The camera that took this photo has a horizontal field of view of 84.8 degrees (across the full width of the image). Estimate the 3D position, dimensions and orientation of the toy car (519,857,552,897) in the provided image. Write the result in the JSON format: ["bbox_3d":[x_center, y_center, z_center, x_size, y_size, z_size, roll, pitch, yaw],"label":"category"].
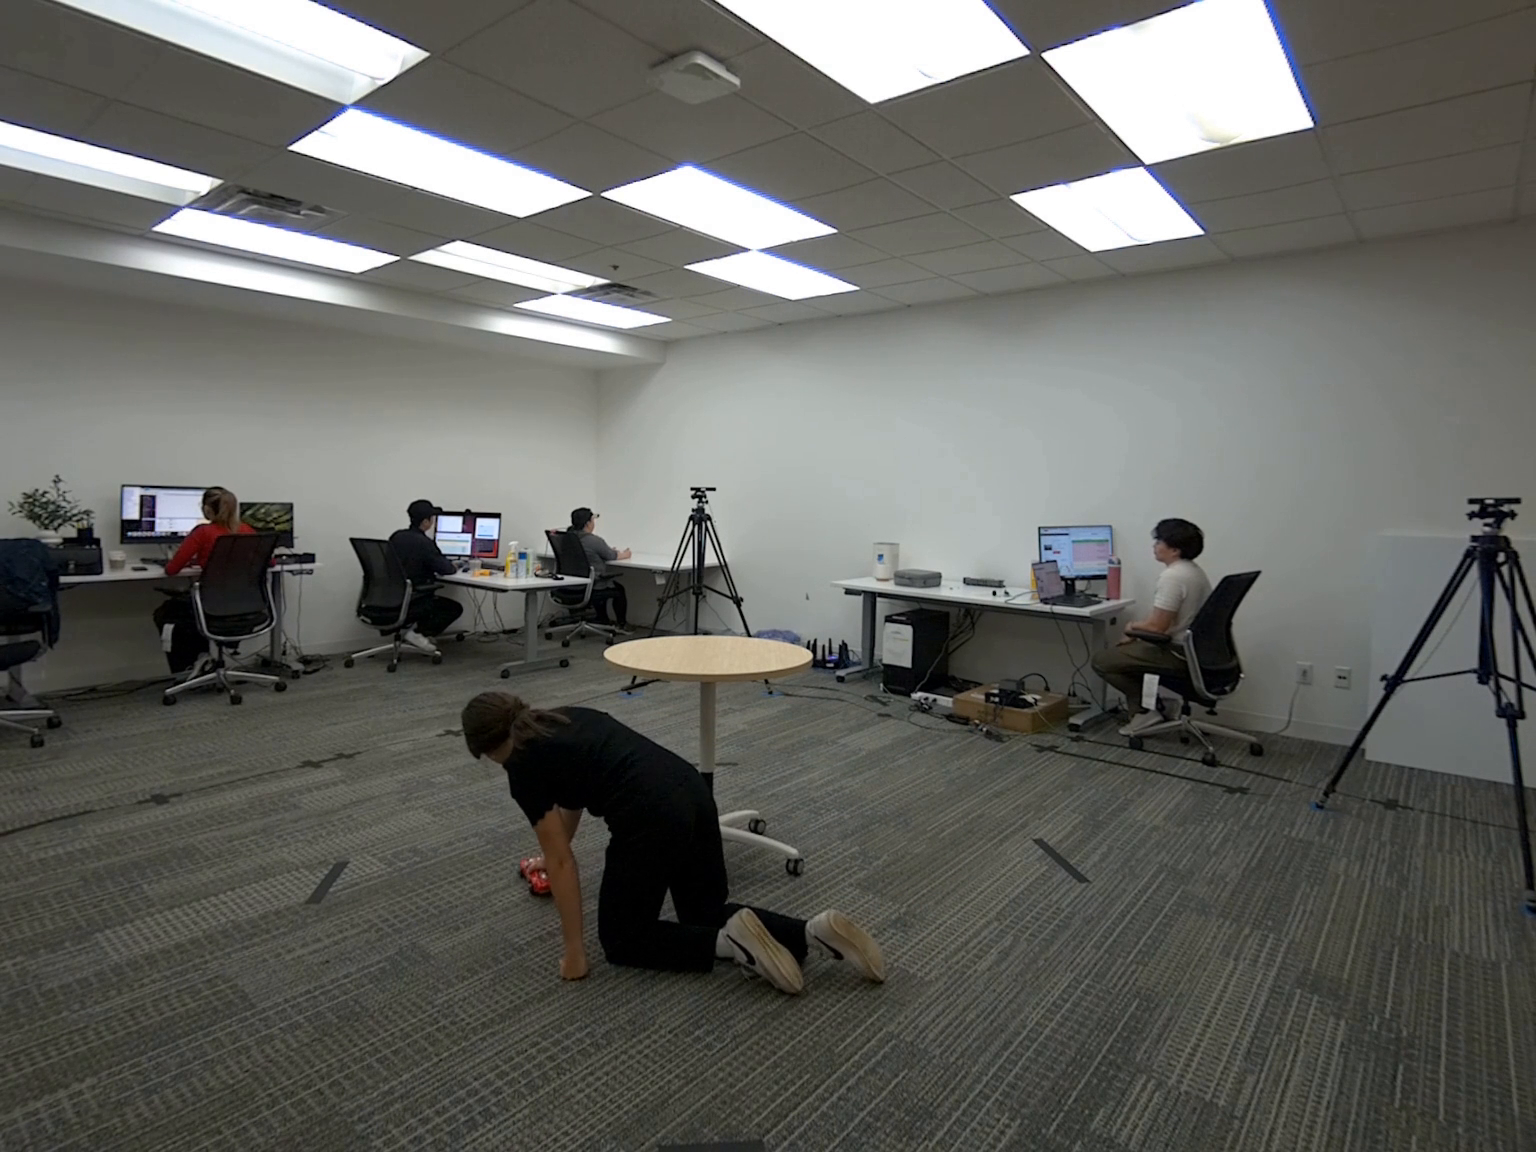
[{"bbox_3d":[-0.799,1.041,2.950,0.127,0.083,0.260,-2,-4,-29],"label":"toy car"}]
